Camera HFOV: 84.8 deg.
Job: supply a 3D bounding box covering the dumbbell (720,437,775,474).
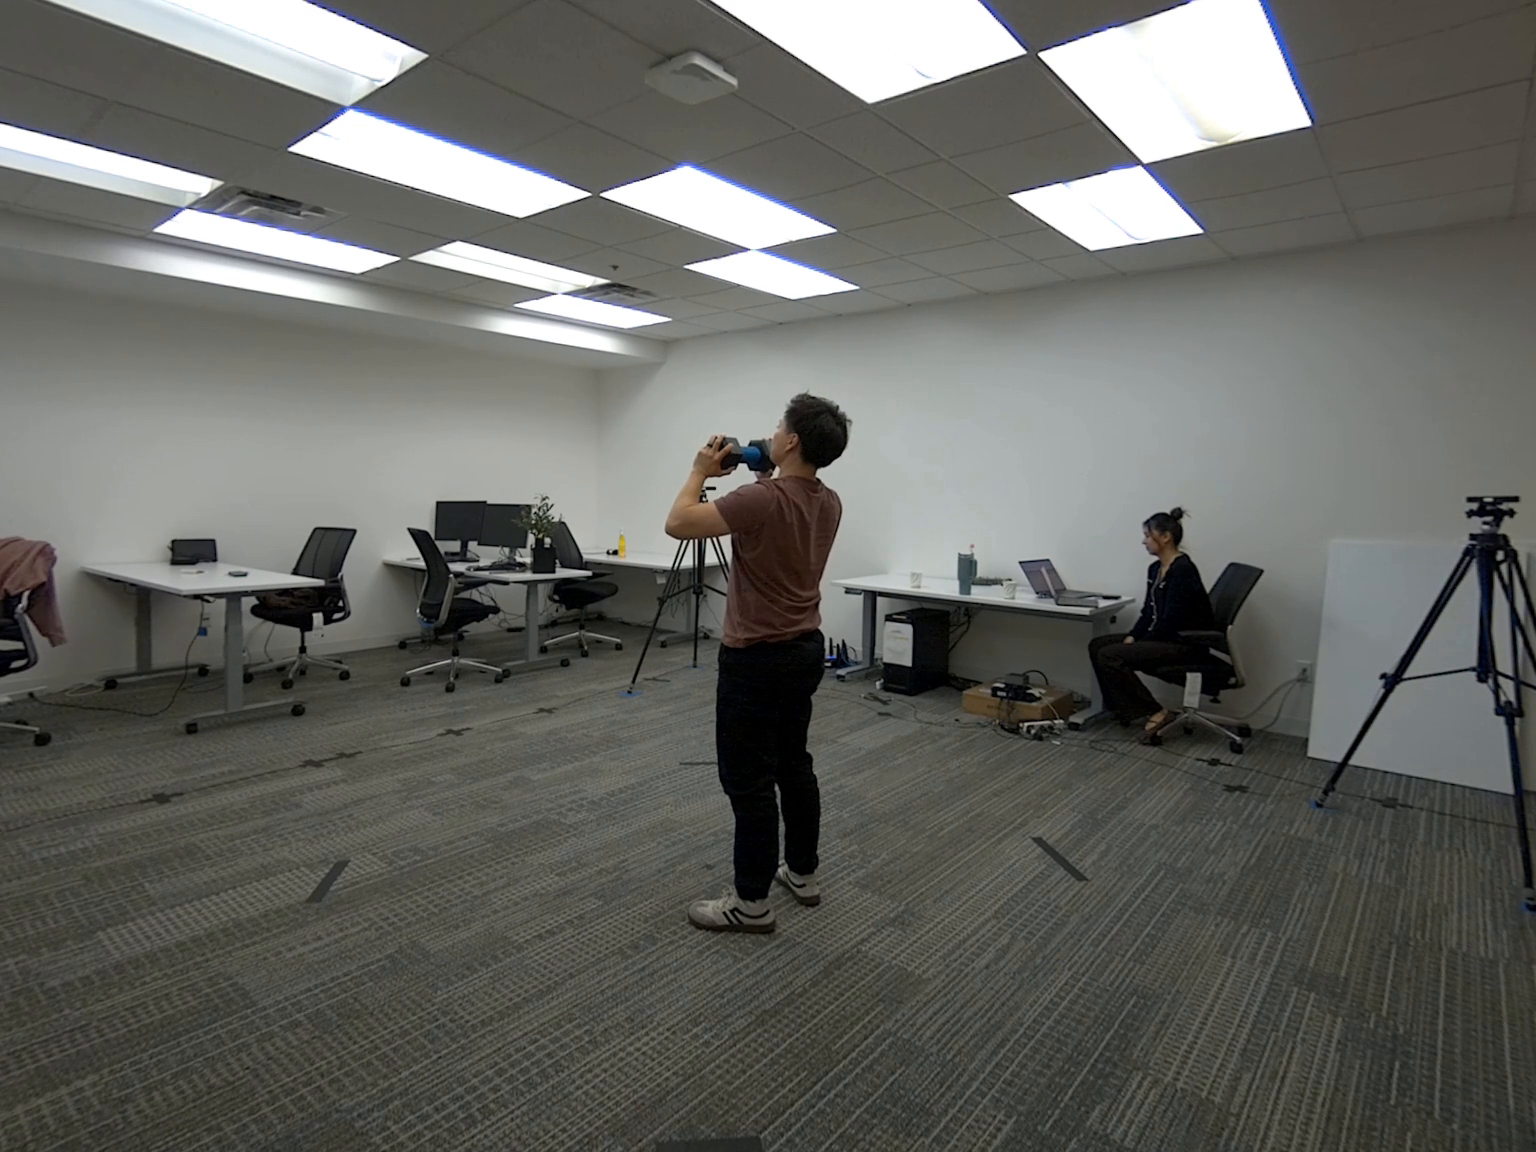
[{"bbox_3d":[-0.096,-0.422,2.864,0.113,0.122,0.285,41,27,29],"label":"dumbbell"}]
